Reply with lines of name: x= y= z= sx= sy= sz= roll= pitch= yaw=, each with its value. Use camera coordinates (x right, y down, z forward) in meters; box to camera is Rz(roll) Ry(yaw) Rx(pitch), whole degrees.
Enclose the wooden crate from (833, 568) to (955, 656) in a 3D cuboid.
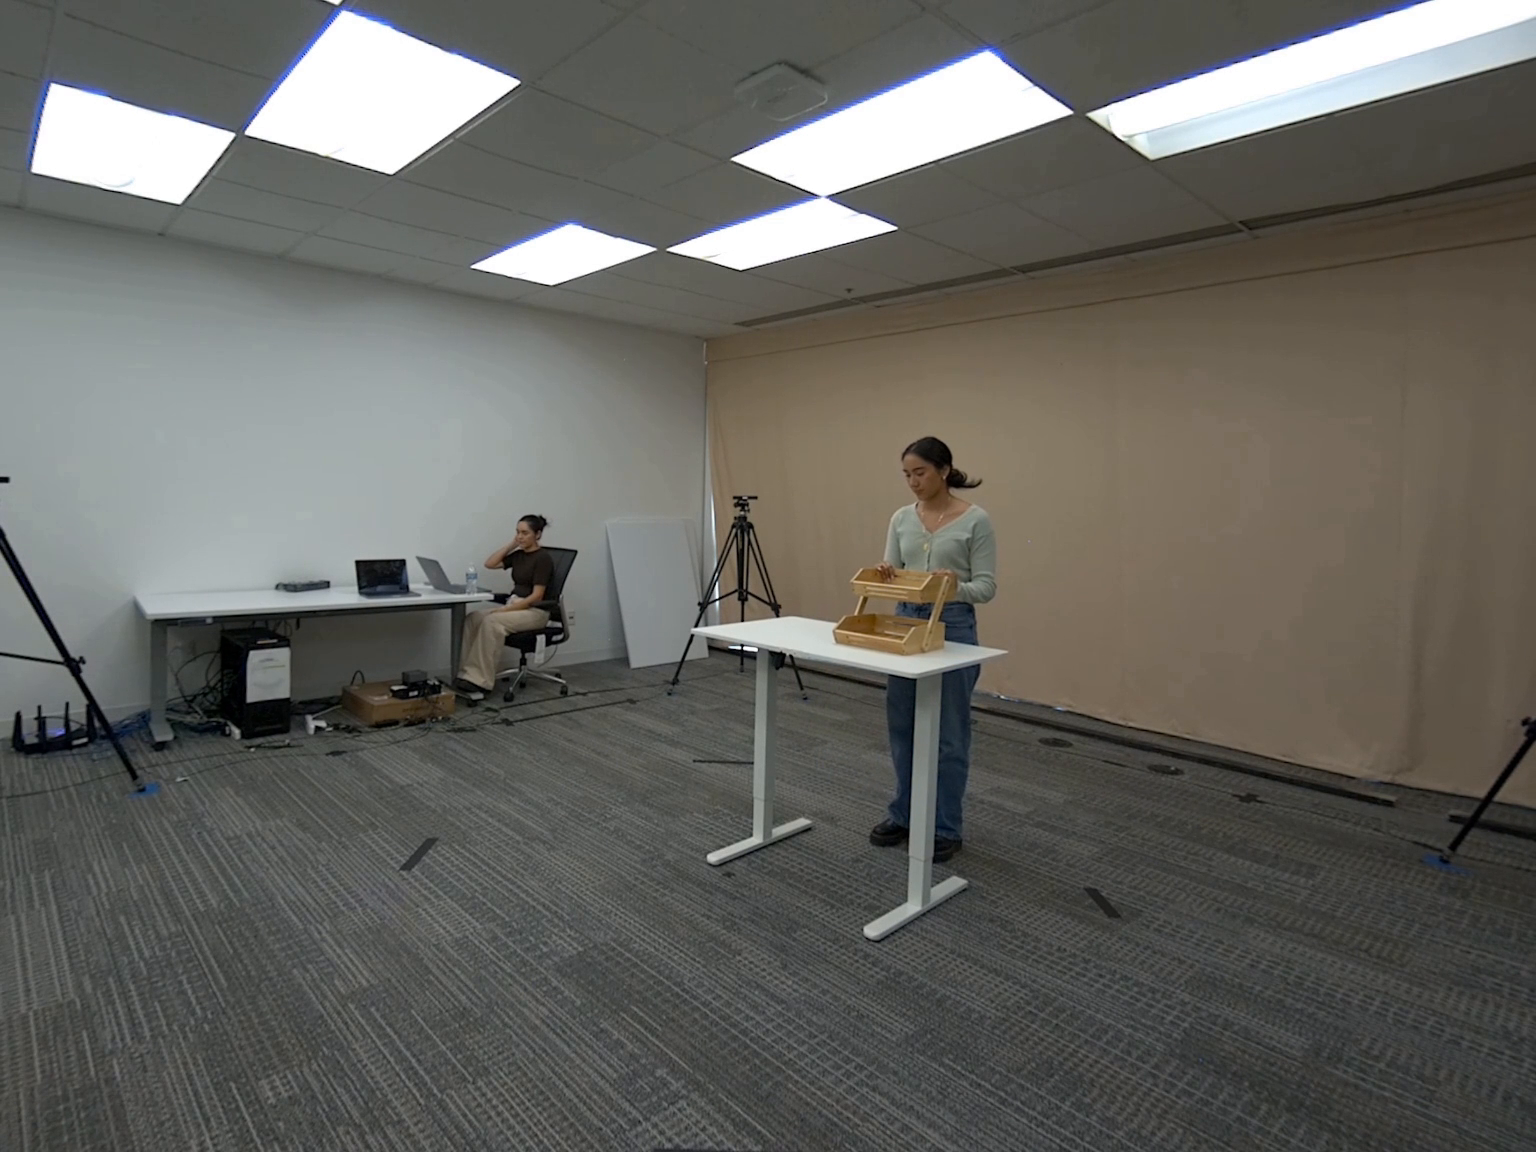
wooden crate: x=0.443 y=0.116 z=2.978 sx=0.333 sy=0.272 sz=0.295 roll=6 pitch=6 yaw=44
